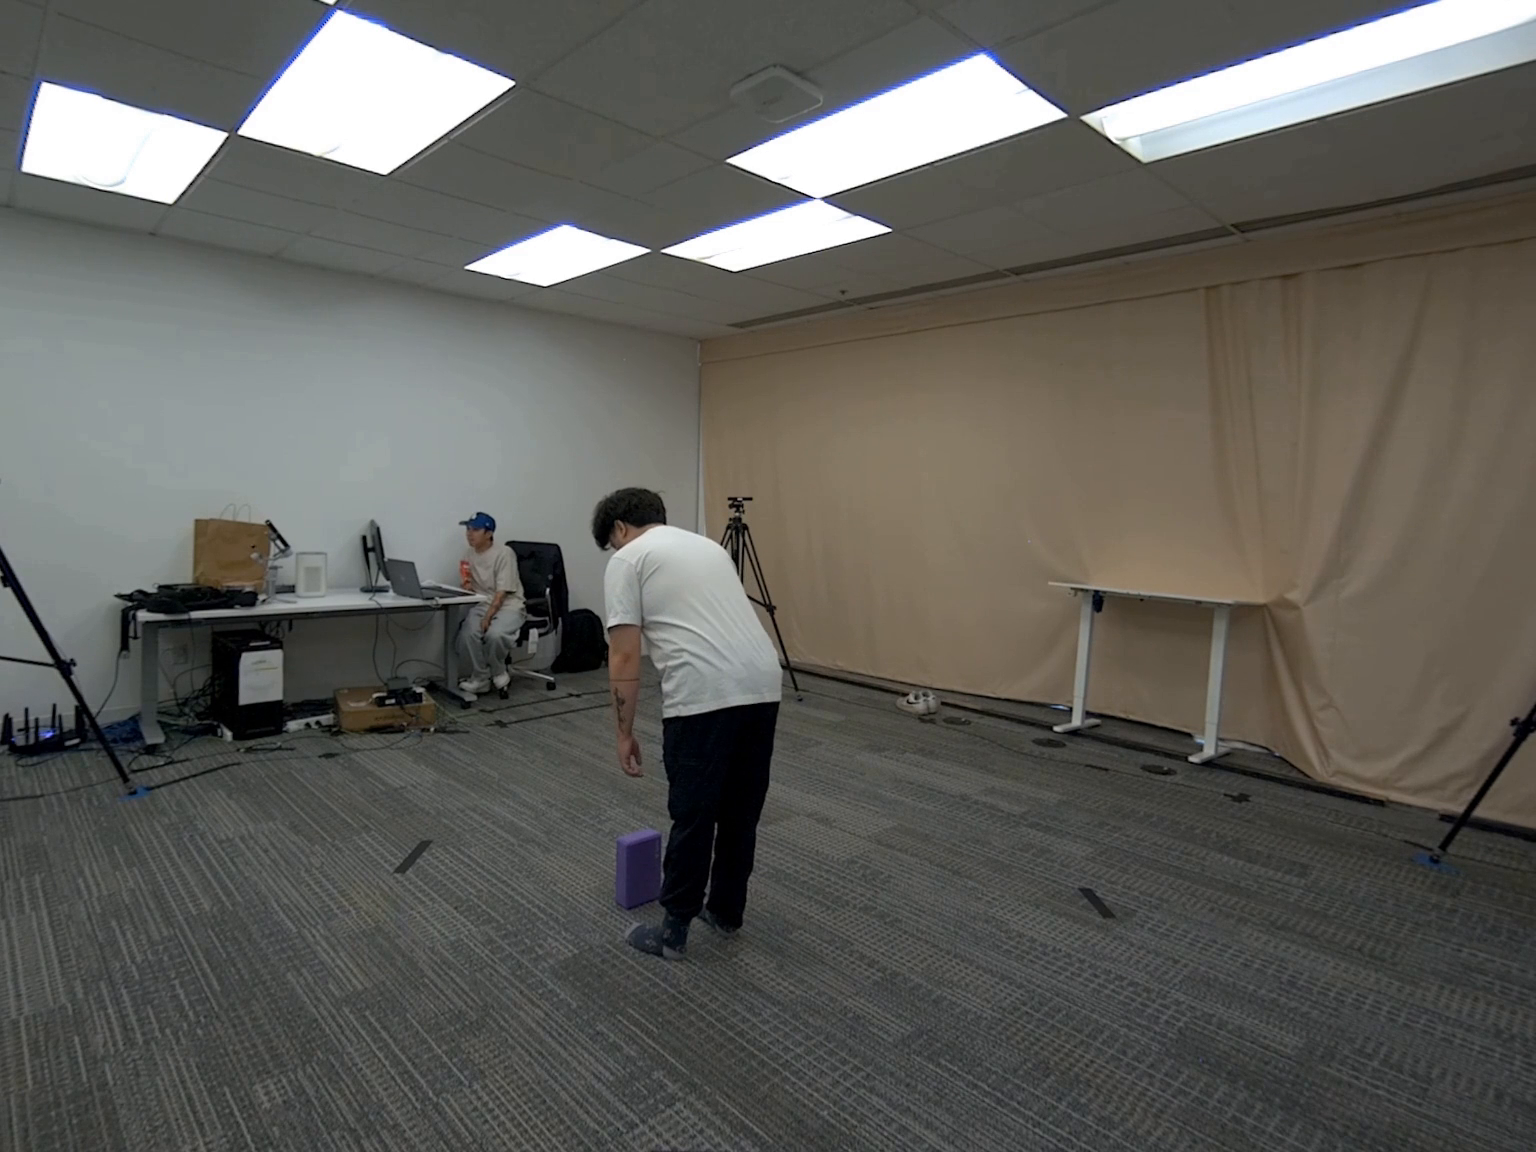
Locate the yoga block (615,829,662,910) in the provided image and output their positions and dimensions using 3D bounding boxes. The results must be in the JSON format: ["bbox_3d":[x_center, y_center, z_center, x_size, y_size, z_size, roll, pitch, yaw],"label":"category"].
[{"bbox_3d":[-0.452,1.006,2.892,0.145,0.228,0.078,-3,6,-43],"label":"yoga block"}]
